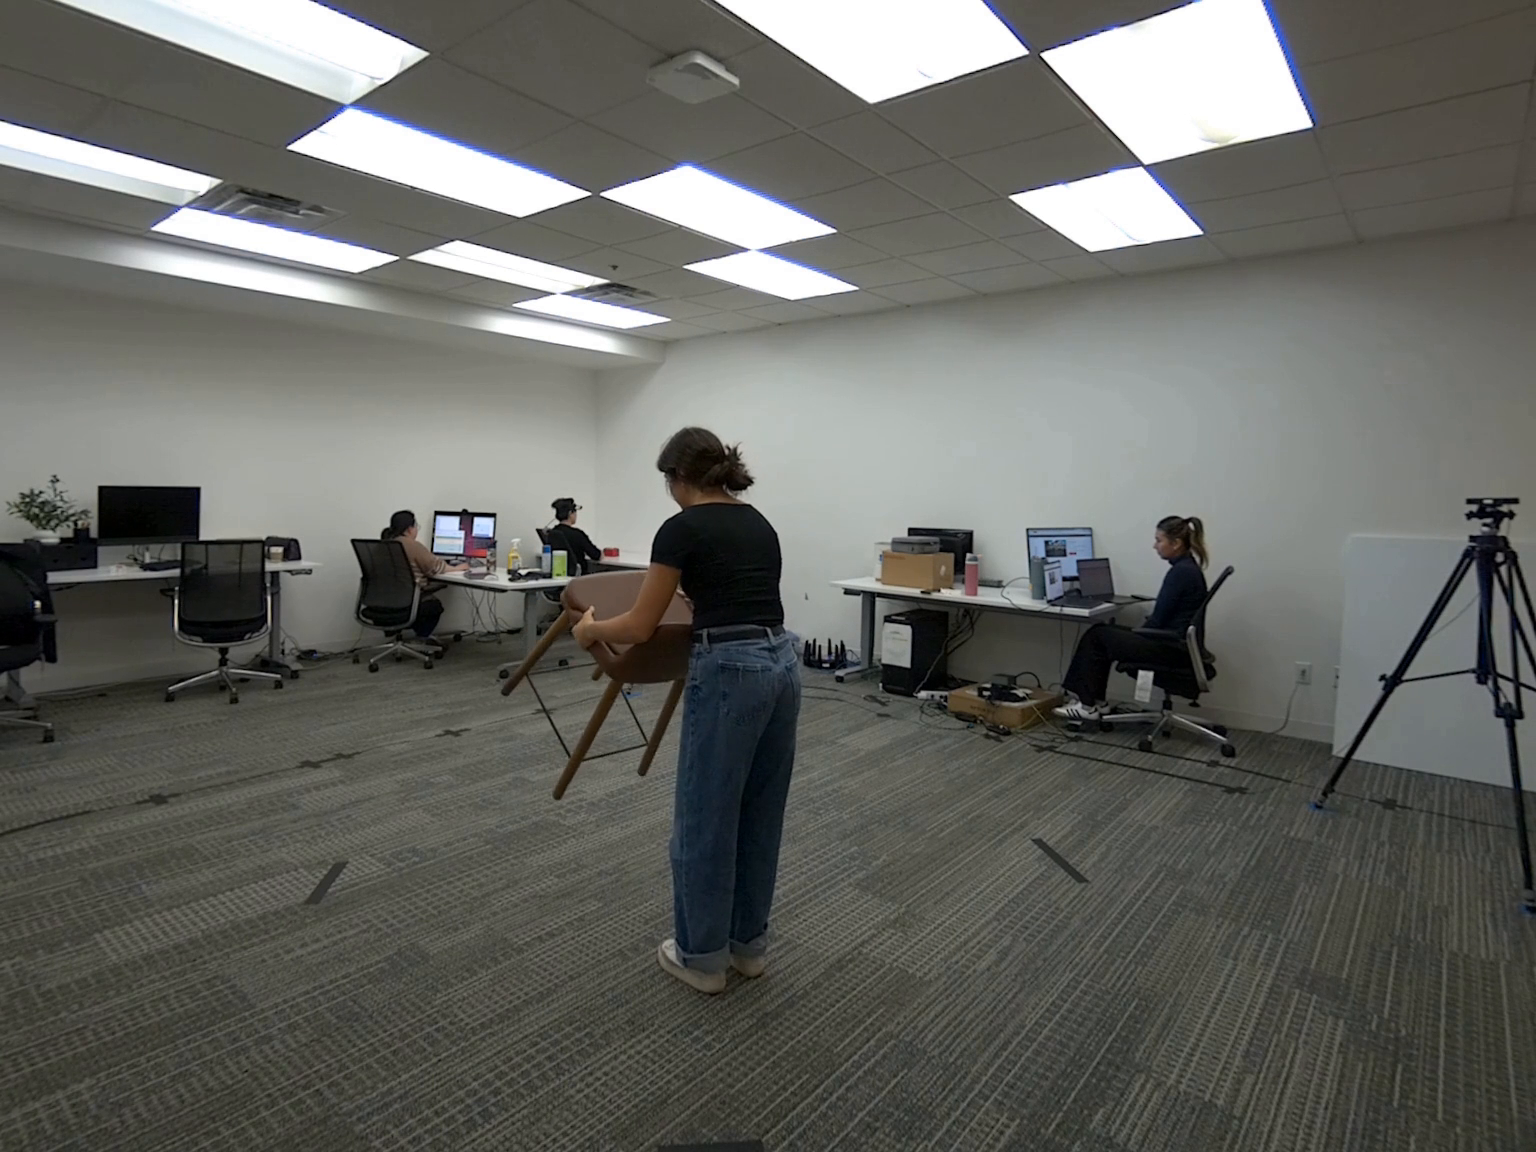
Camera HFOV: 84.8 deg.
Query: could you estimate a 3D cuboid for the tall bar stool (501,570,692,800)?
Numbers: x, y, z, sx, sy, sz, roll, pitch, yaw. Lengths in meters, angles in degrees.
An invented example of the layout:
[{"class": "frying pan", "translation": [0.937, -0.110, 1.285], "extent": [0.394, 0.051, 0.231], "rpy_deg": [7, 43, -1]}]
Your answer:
[{"class": "tall bar stool", "translation": [-0.475, 0.265, 2.757], "extent": [0.442, 0.484, 0.886], "rpy_deg": [-2, -40, -44]}]
